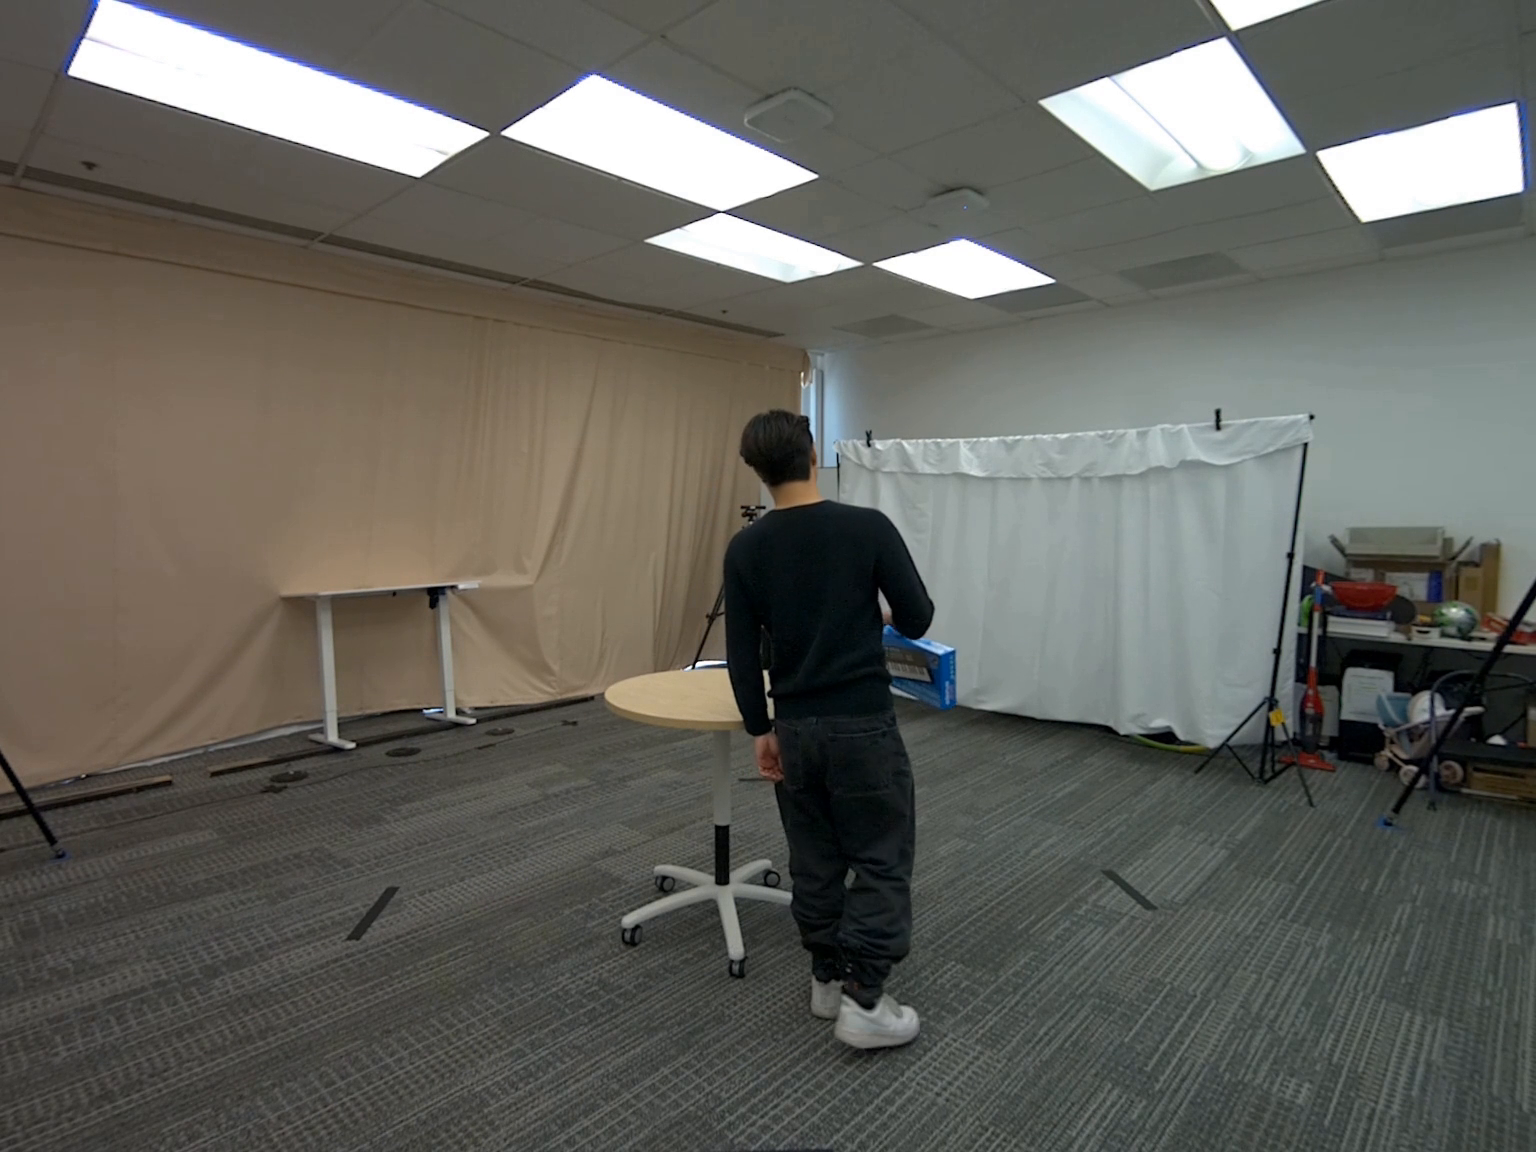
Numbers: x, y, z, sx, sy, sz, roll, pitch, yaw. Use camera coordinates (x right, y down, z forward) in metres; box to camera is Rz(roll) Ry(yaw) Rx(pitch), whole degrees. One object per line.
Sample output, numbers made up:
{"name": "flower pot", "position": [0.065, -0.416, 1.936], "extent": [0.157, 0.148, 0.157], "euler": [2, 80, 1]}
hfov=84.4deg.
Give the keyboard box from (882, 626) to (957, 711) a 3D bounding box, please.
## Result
{"name": "keyboard box", "position": [0.389, 0.257, 2.601], "extent": [0.058, 0.174, 0.452], "euler": [-13, 19, -31]}
